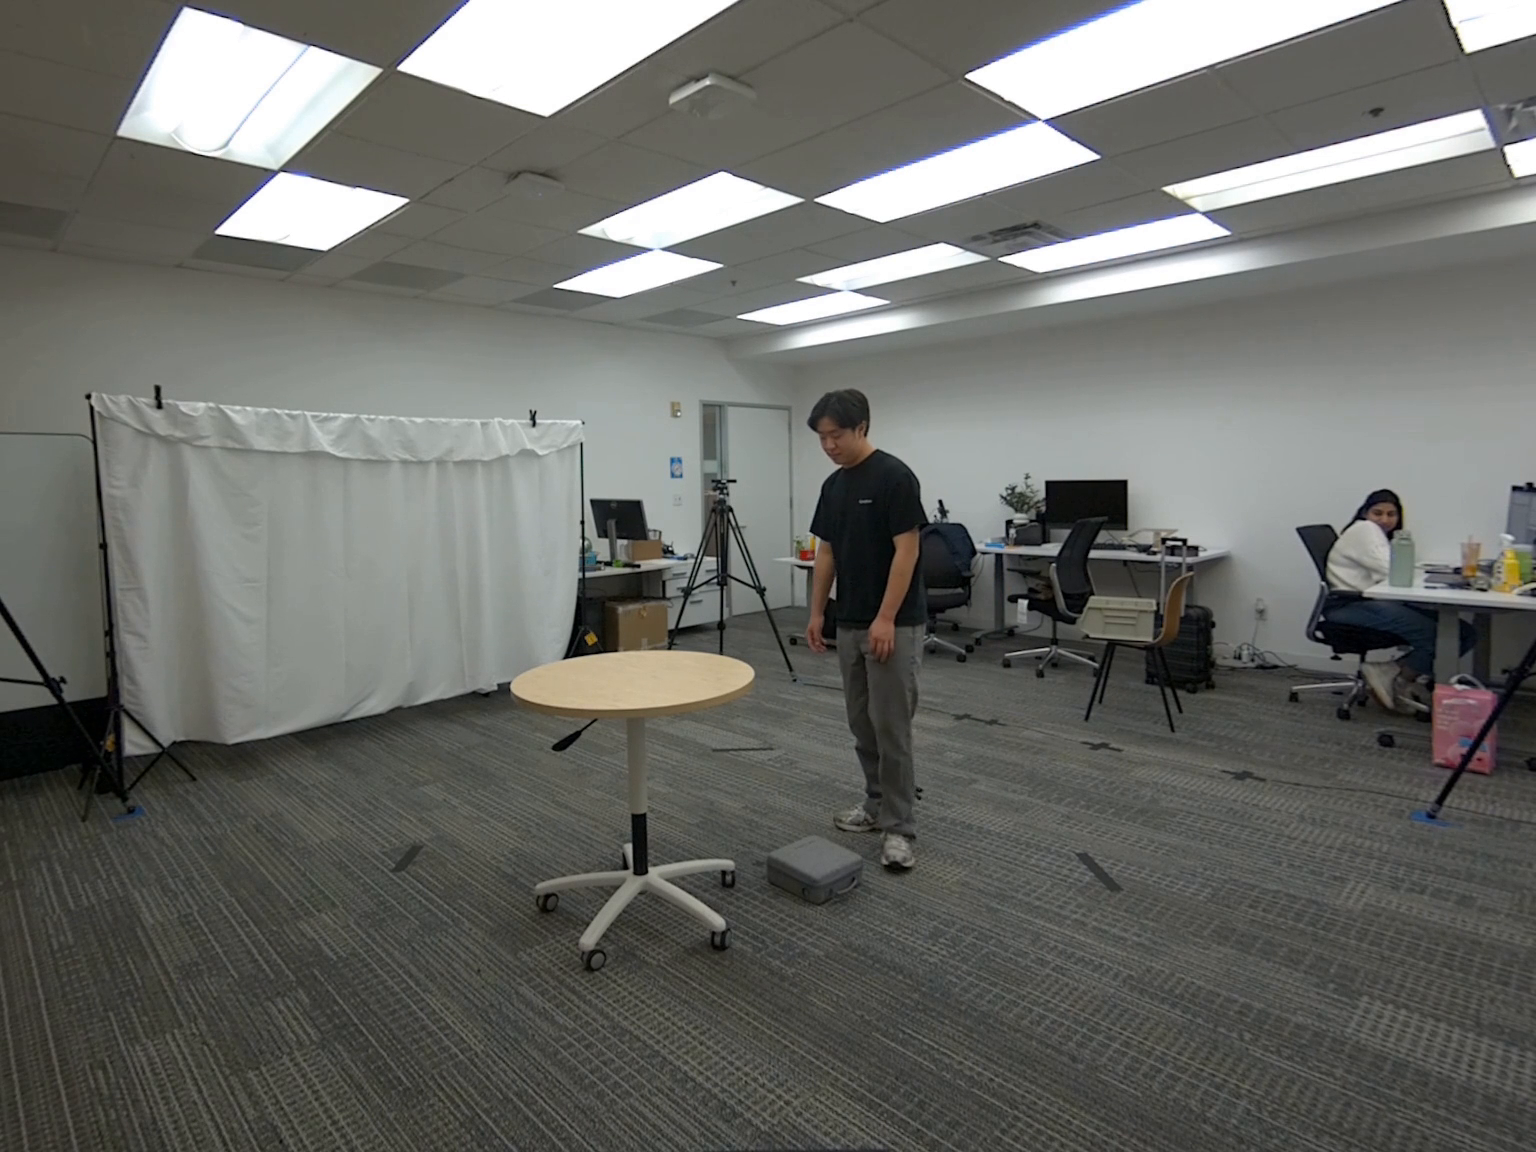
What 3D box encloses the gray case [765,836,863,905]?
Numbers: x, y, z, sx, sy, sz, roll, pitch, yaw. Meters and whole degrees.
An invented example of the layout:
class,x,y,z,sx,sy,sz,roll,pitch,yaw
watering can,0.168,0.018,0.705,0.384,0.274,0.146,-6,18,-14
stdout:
class,x,y,z,sx,sy,sz,roll,pitch,yaw
gray case,0.175,1.007,2.940,0.256,0.102,0.296,-7,9,-42
